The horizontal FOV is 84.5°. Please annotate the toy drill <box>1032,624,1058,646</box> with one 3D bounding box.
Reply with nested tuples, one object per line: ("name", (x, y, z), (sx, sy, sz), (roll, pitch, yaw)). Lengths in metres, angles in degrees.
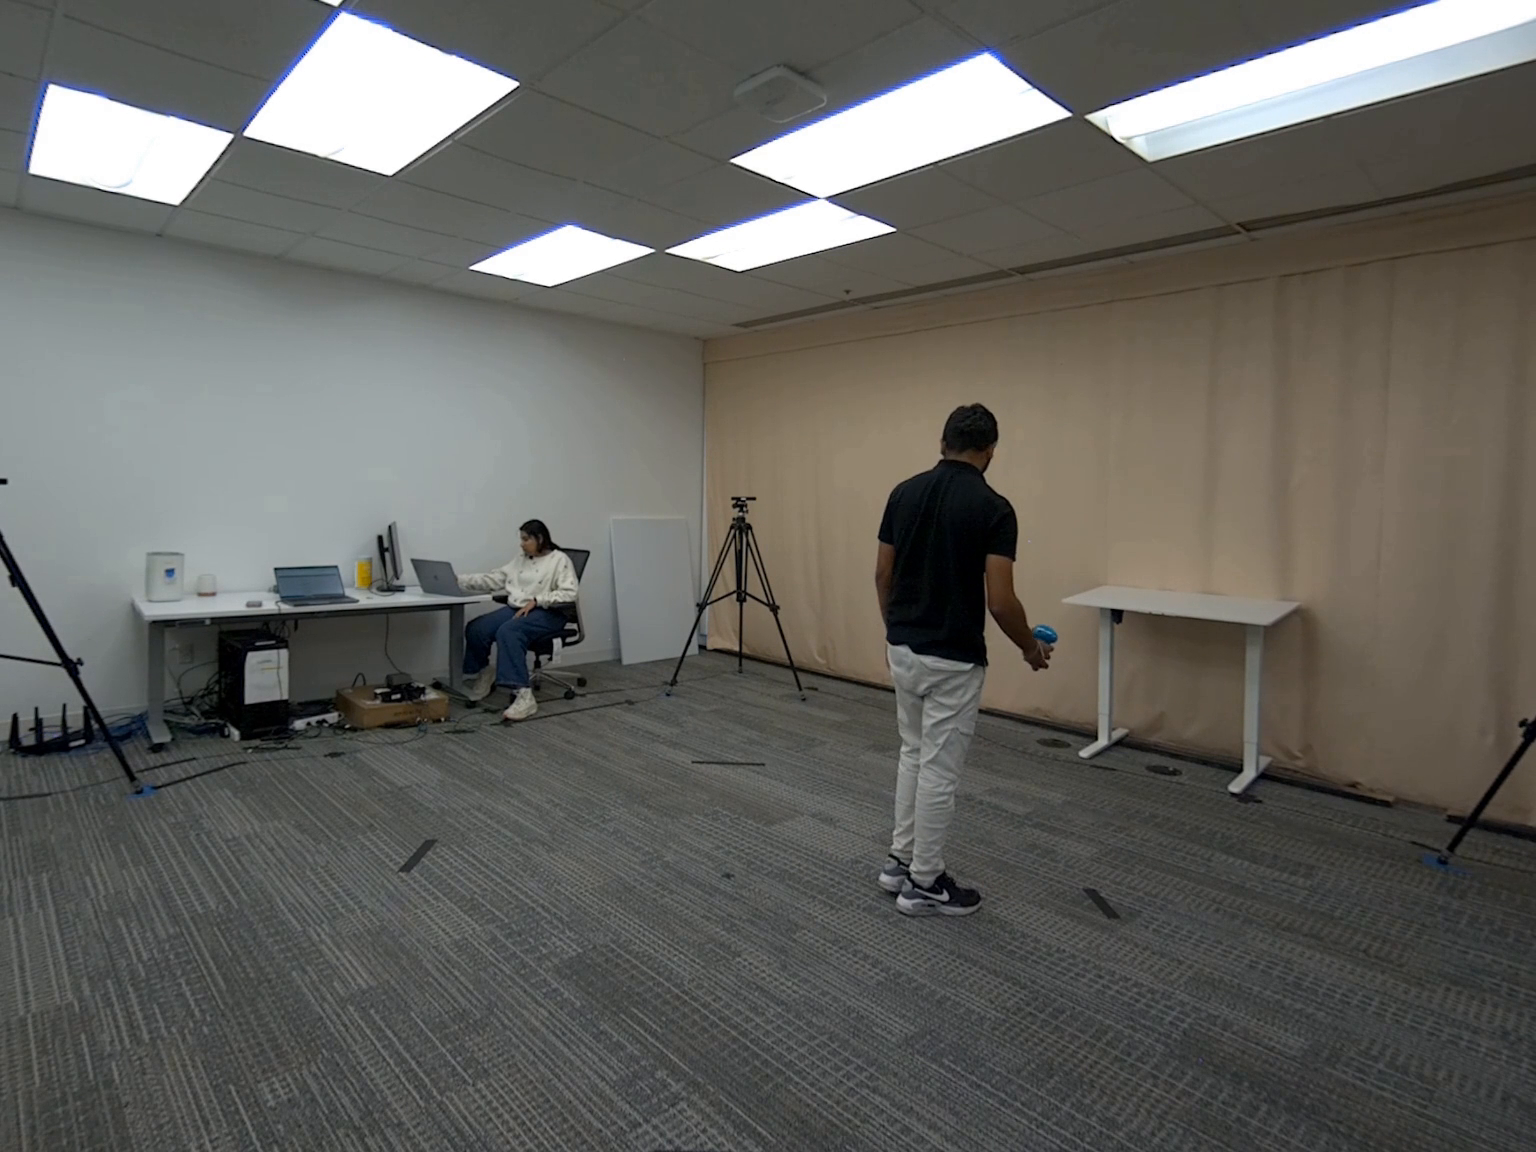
("toy drill", (0.931, 0.232, 2.939), (0.060, 0.146, 0.173), (23, 3, -18))
